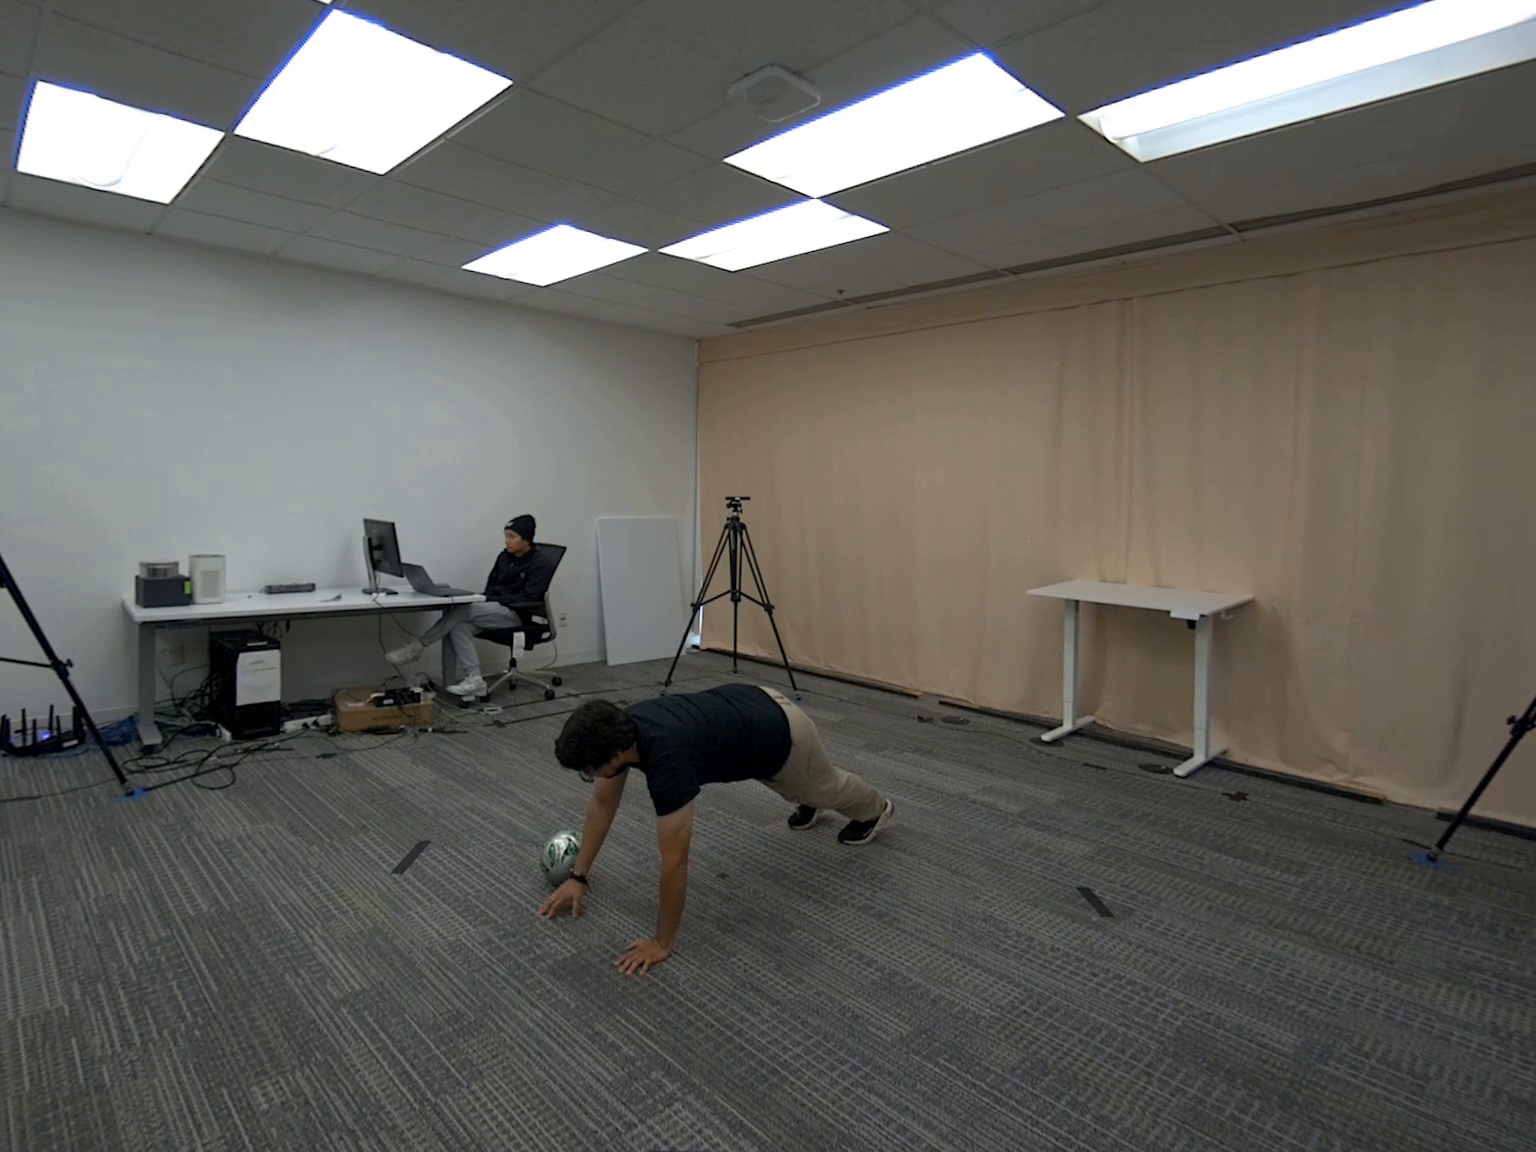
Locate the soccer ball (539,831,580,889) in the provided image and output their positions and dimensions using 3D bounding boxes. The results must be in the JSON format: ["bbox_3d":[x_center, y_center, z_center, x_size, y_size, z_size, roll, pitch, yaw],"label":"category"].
[{"bbox_3d":[-0.734,1.015,3.010,0.187,0.187,0.188,1,4,-1],"label":"soccer ball"}]
